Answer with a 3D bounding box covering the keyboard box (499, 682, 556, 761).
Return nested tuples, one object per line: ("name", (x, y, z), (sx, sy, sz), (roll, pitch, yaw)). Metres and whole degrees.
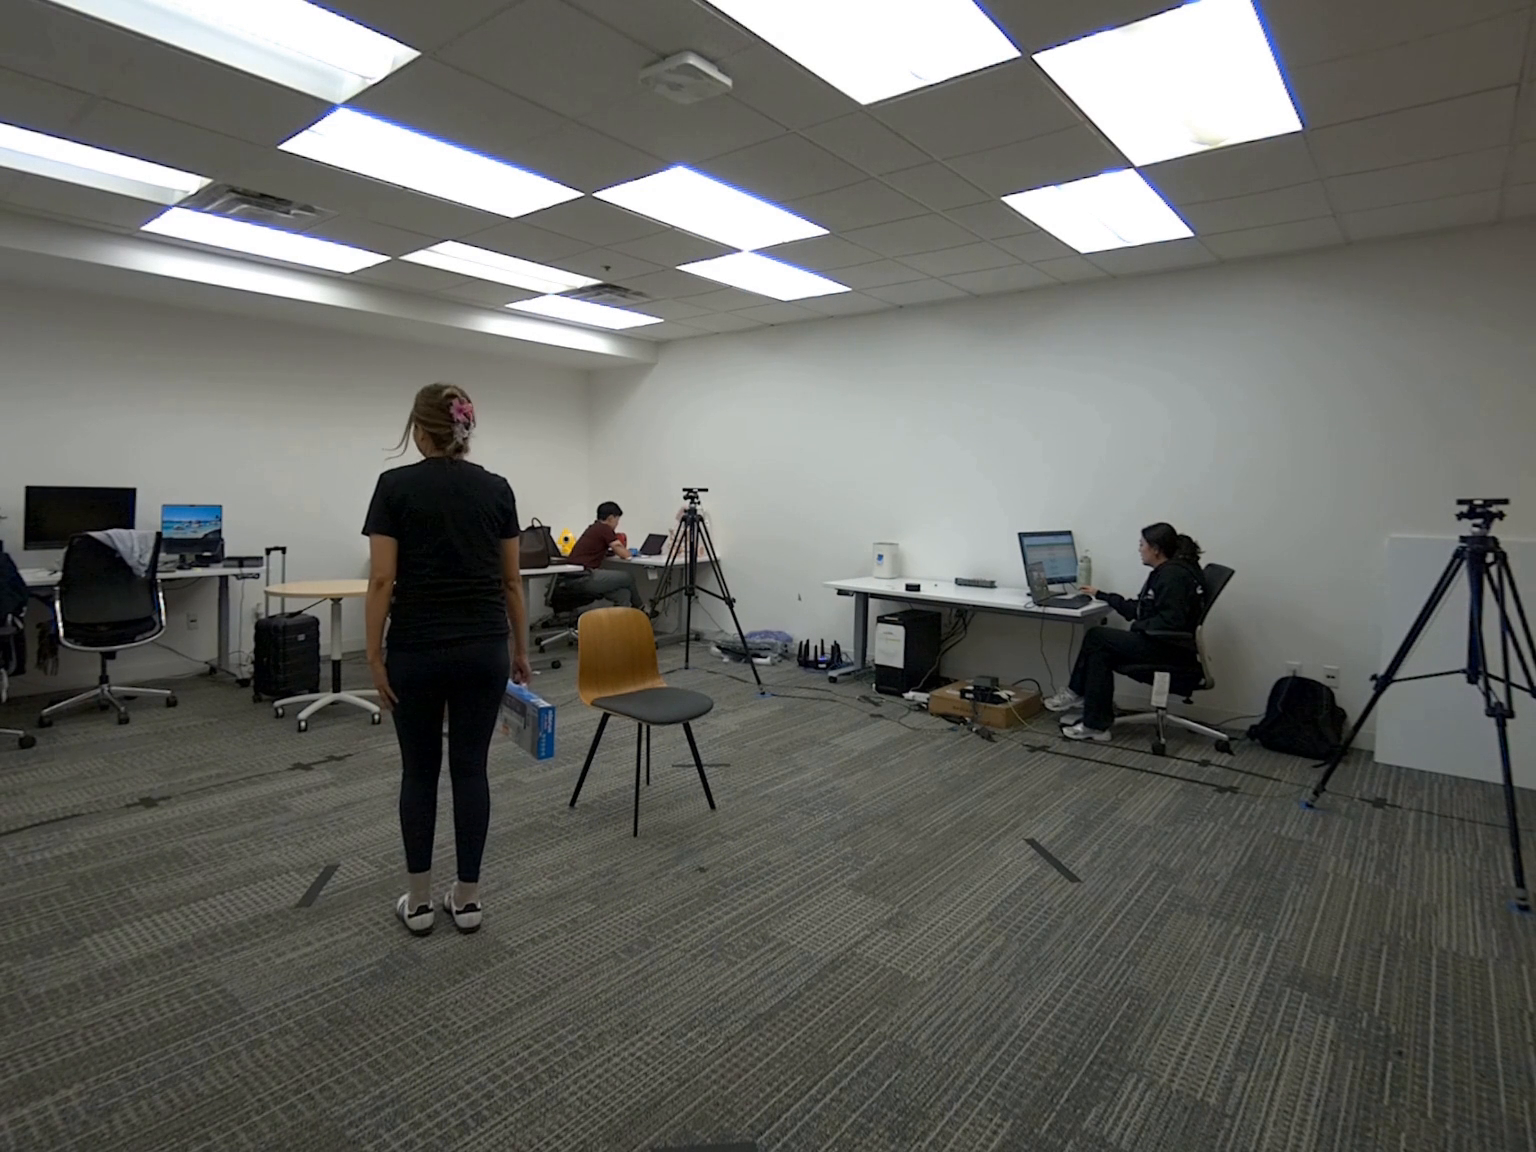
("keyboard box", (-0.867, 0.485, 2.930), (0.057, 0.175, 0.452), (-1, 7, -38))
